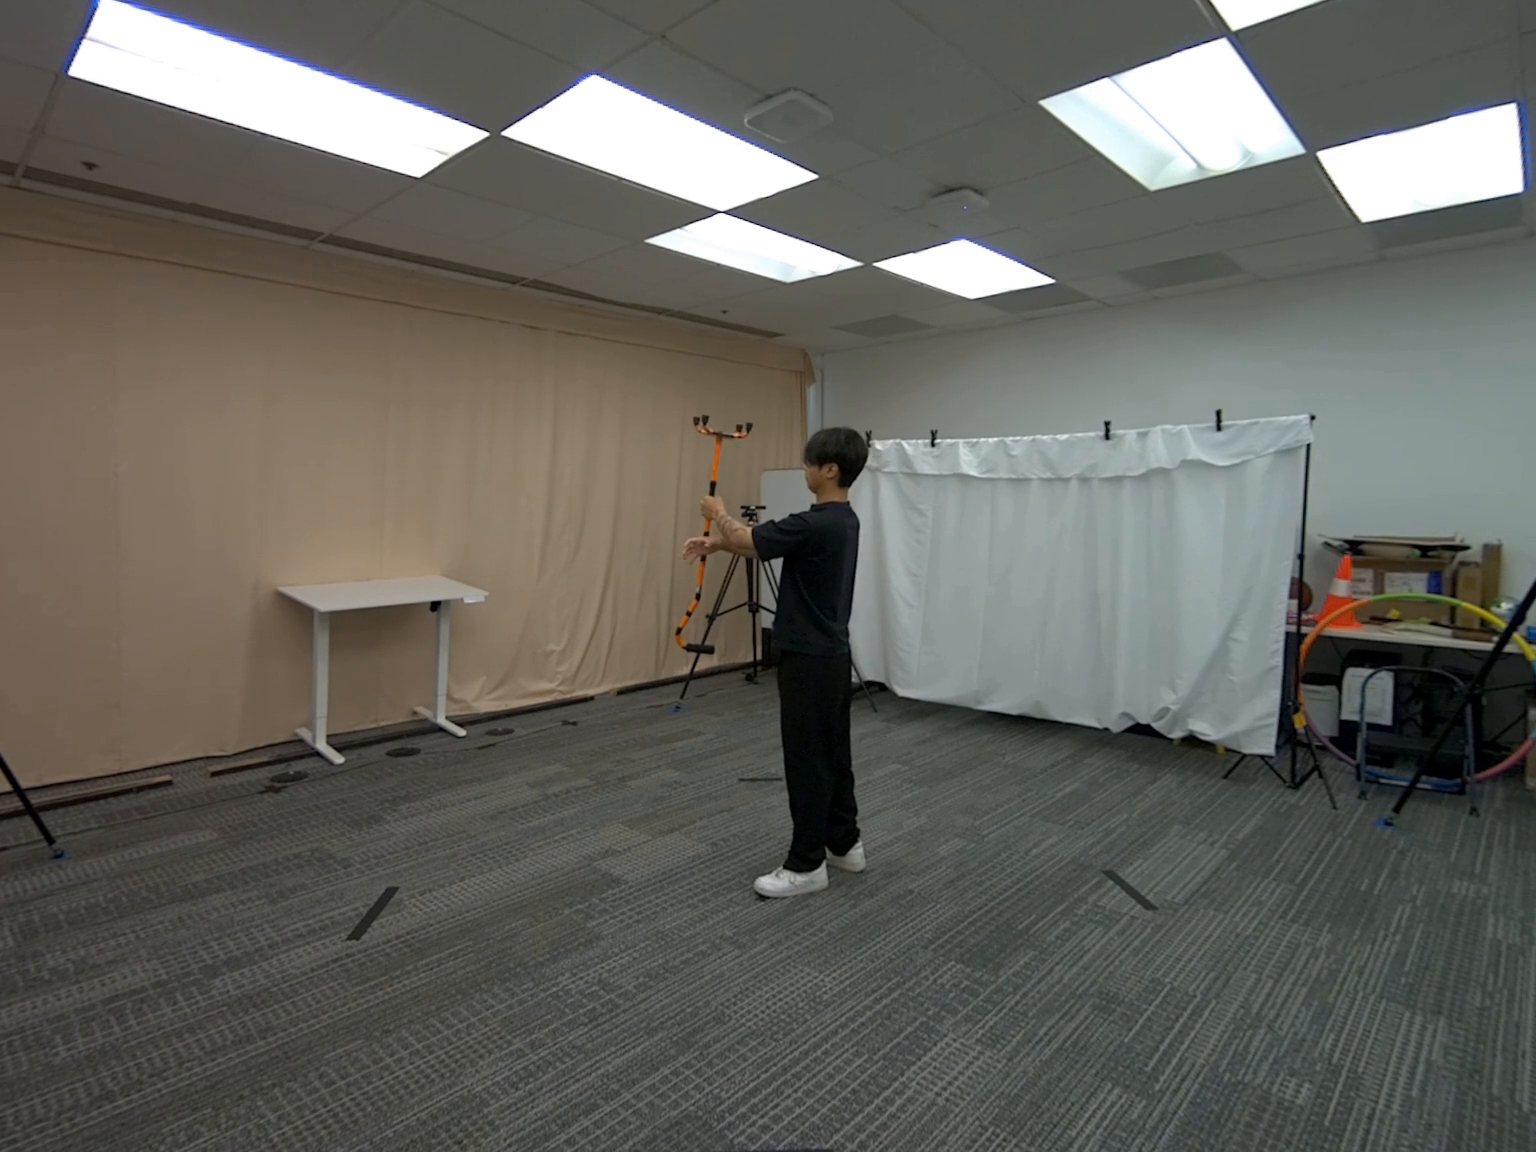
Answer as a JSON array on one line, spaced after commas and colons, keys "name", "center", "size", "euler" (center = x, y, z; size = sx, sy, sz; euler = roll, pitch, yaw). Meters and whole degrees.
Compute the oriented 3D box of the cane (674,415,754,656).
[{"name": "cane", "center": [-0.235, -0.157, 3.273], "size": [0.202, 0.907, 0.155], "euler": [9, 1, -19]}]
